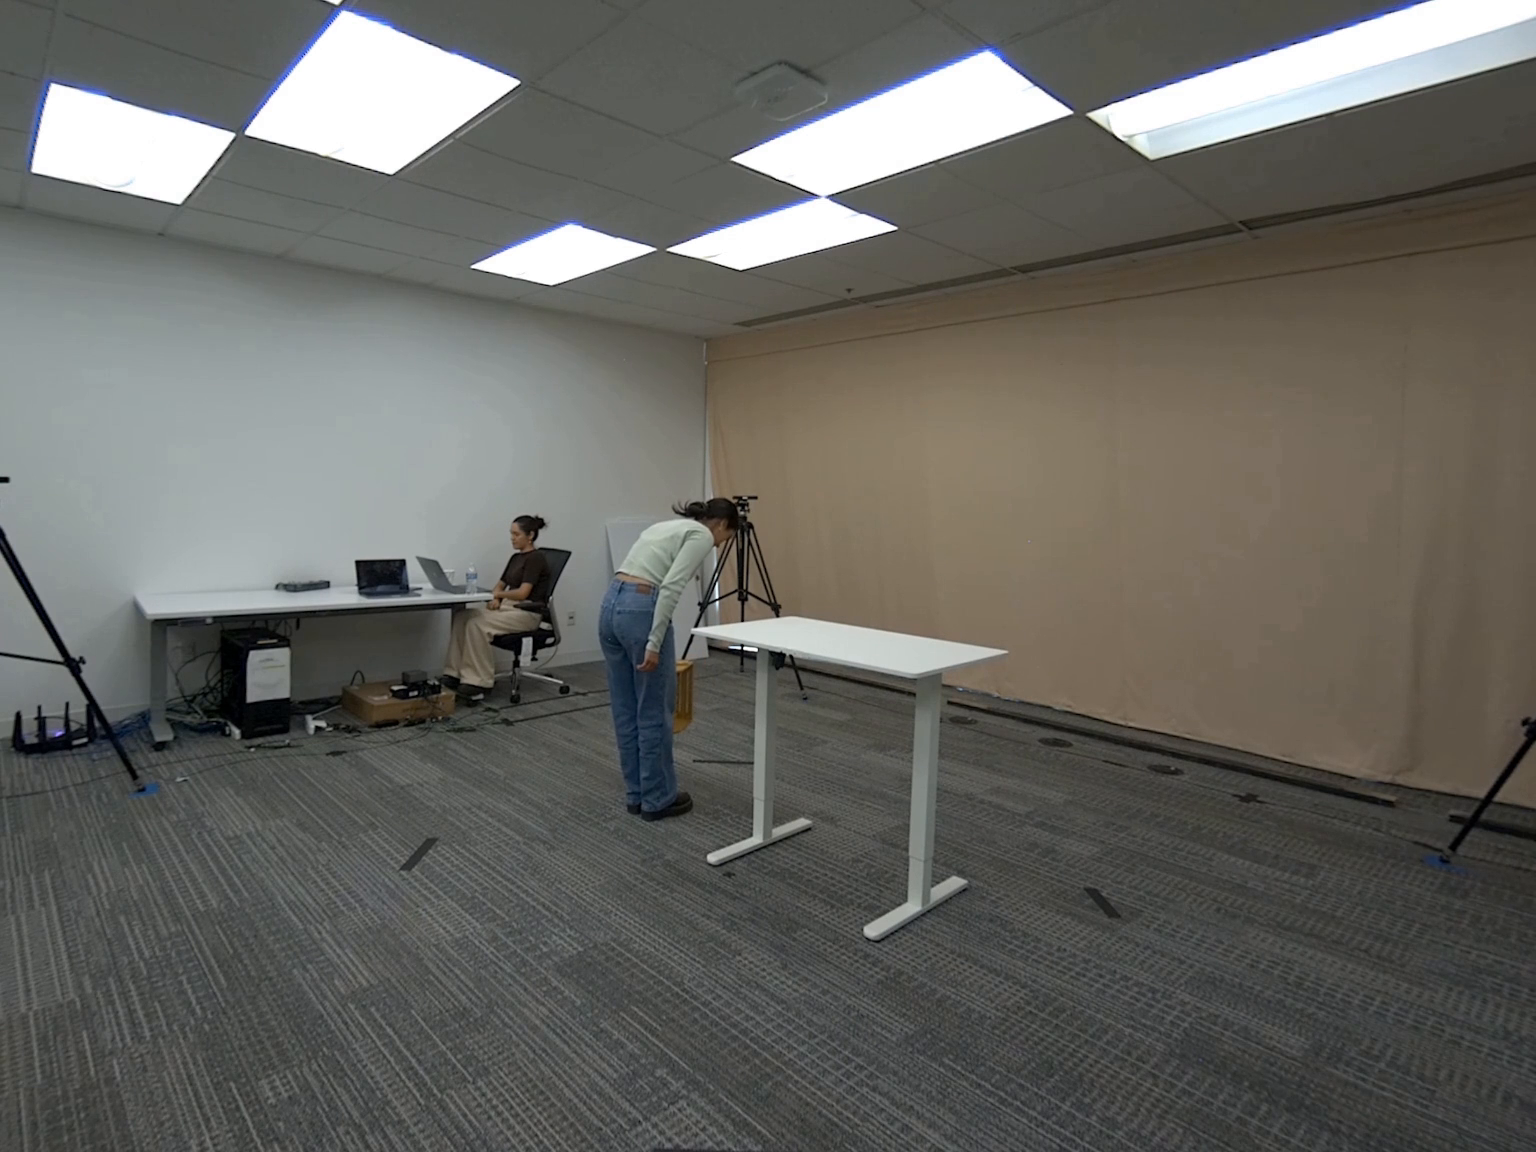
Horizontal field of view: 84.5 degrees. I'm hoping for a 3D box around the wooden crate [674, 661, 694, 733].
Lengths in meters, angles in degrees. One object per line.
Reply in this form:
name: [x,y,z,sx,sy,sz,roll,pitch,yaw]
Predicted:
wooden crate: [-0.533,0.574,3.922,0.277,0.322,0.299,5,10,18]
